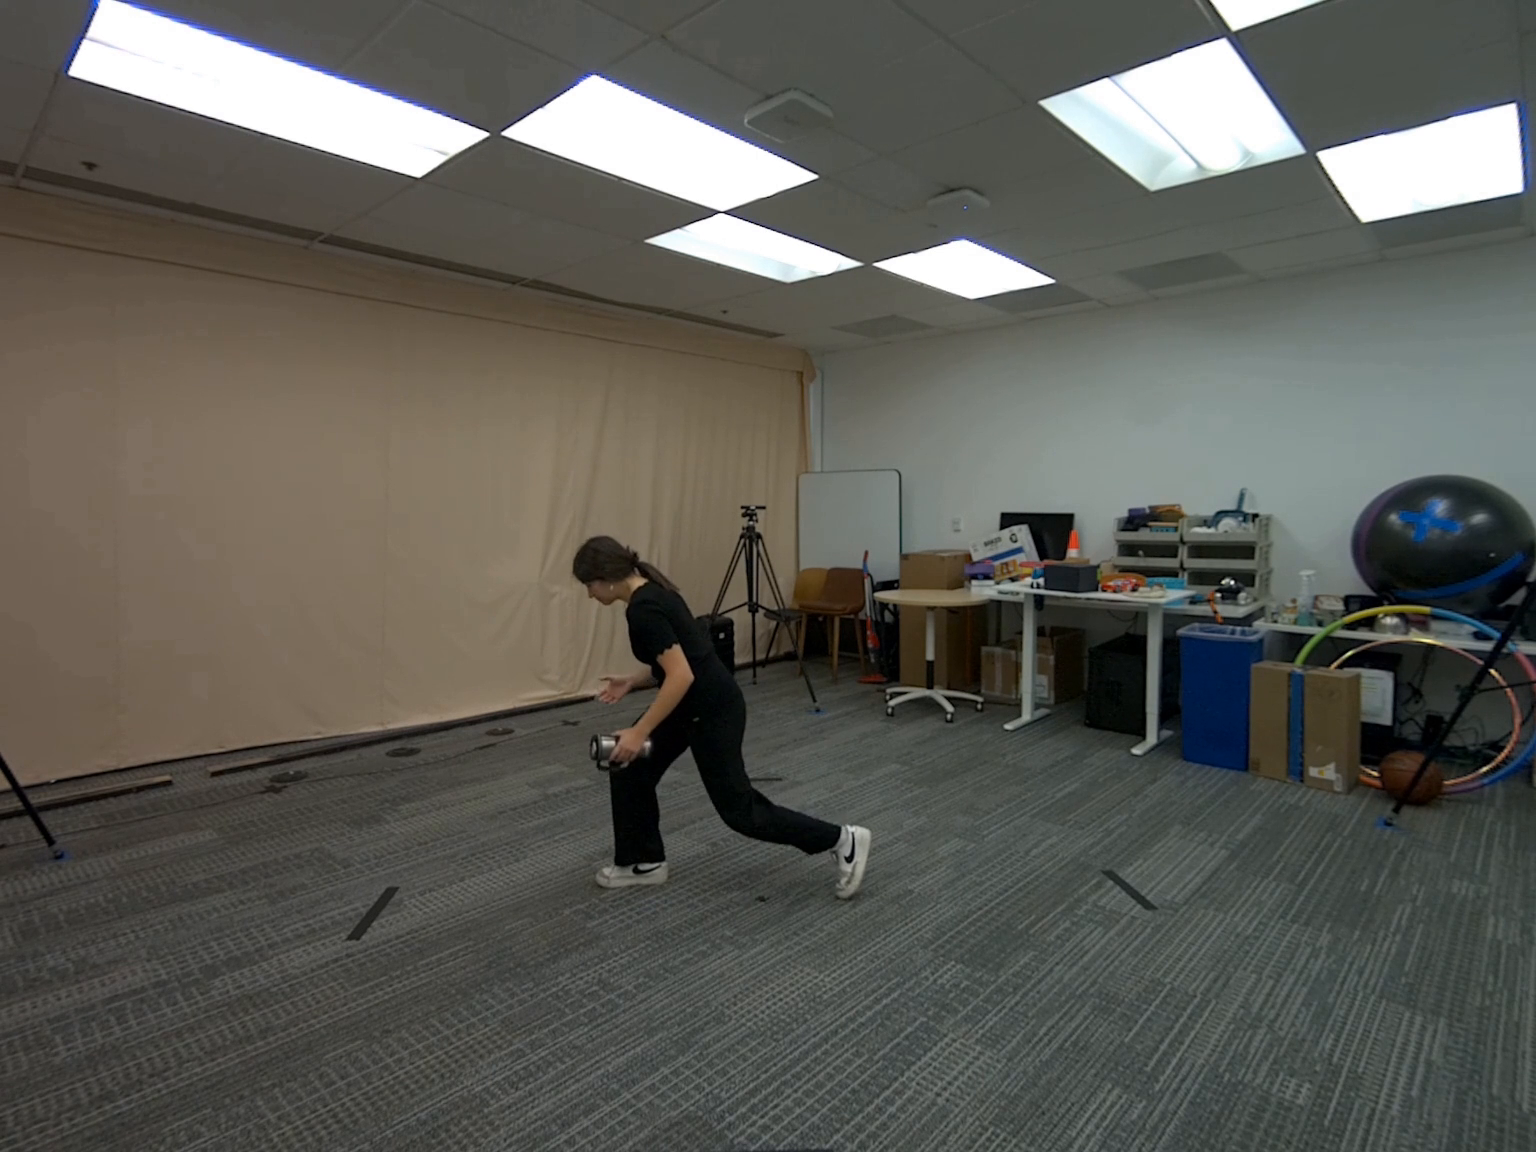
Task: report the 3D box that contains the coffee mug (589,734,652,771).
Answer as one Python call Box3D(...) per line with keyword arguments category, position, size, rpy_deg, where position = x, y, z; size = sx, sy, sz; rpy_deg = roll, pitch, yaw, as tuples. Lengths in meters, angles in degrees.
Box3D(category="coffee mug", position=(-0.502, 0.590, 2.864), size=(0.198, 0.122, 0.090), rpy_deg=(4, 5, -23))
